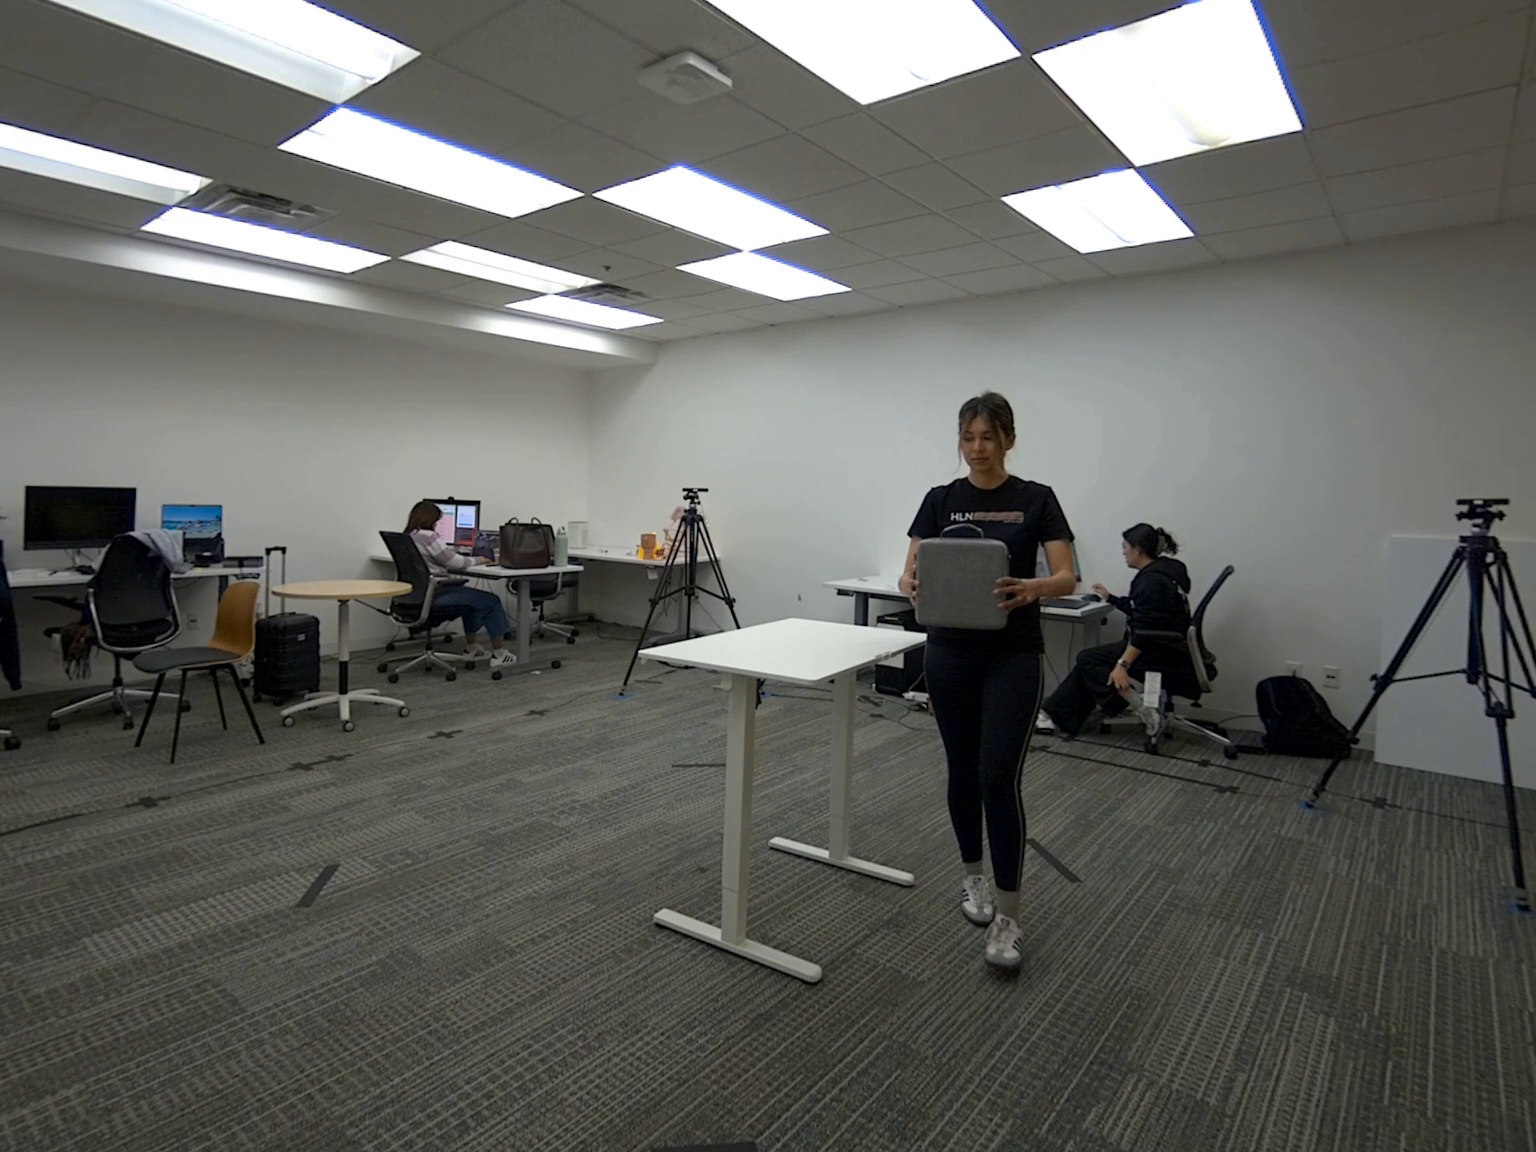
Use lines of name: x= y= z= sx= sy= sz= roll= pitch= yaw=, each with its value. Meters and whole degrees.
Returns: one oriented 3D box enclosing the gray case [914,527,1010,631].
gray case: x=0.564 y=0.015 z=2.459 sx=0.262 sy=0.260 sz=0.102 roll=1 pitch=3 yaw=20
